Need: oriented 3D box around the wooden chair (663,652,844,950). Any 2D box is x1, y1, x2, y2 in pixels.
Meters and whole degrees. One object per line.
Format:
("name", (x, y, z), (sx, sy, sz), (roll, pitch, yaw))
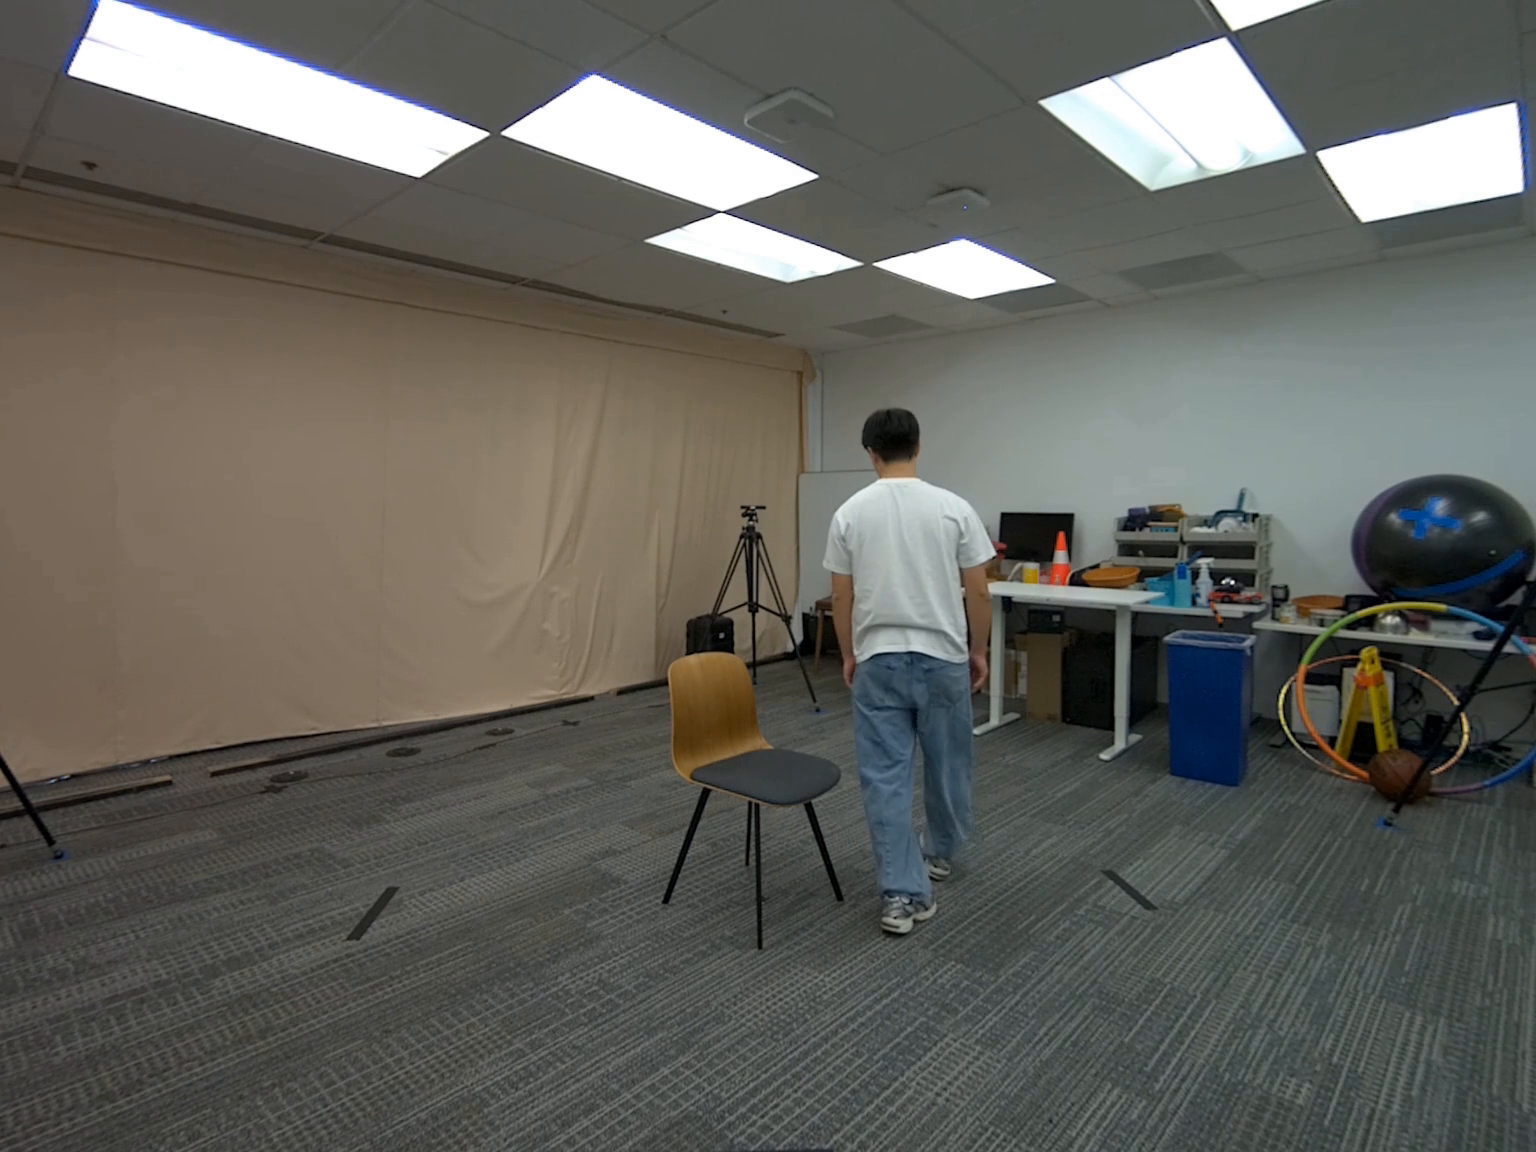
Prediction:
("wooden chair", (-0.043, 0.722, 2.920), (0.539, 0.877, 0.463), (-3, 0, 42))
